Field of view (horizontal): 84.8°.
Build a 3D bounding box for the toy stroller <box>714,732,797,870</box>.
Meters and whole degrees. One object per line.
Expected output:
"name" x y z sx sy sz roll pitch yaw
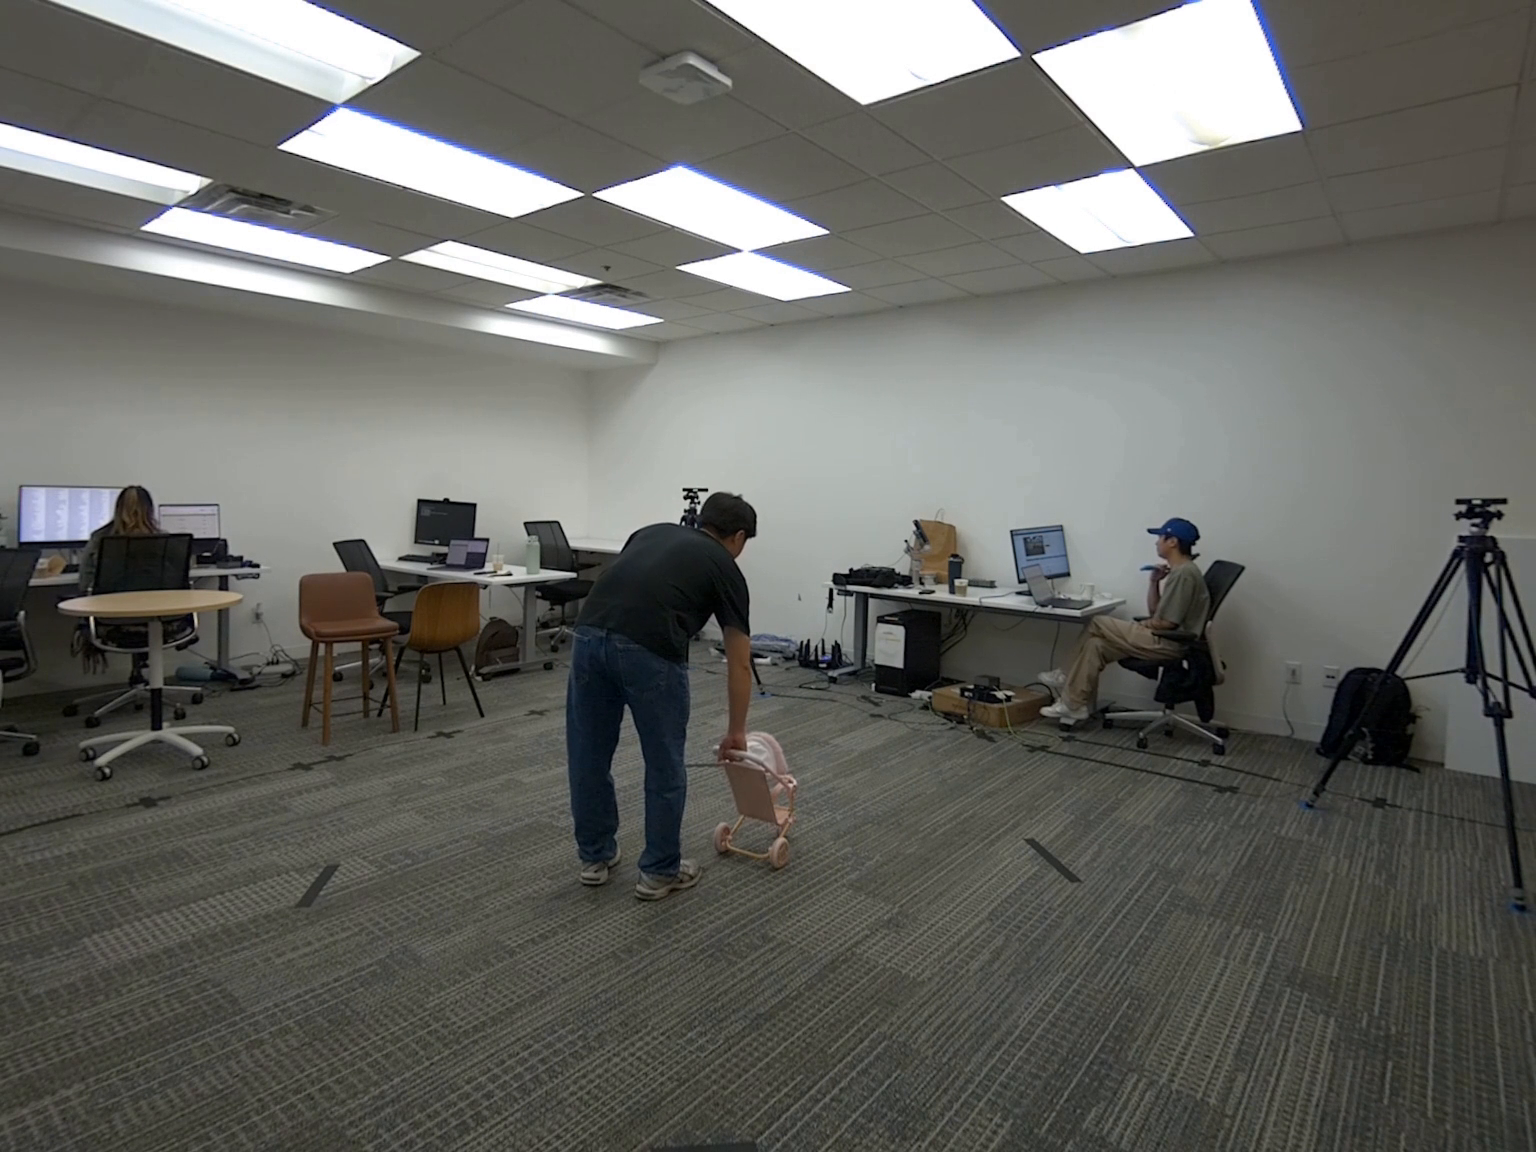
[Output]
"toy stroller" -0.035 0.828 3.249 0.290 0.527 0.336 4 17 34
